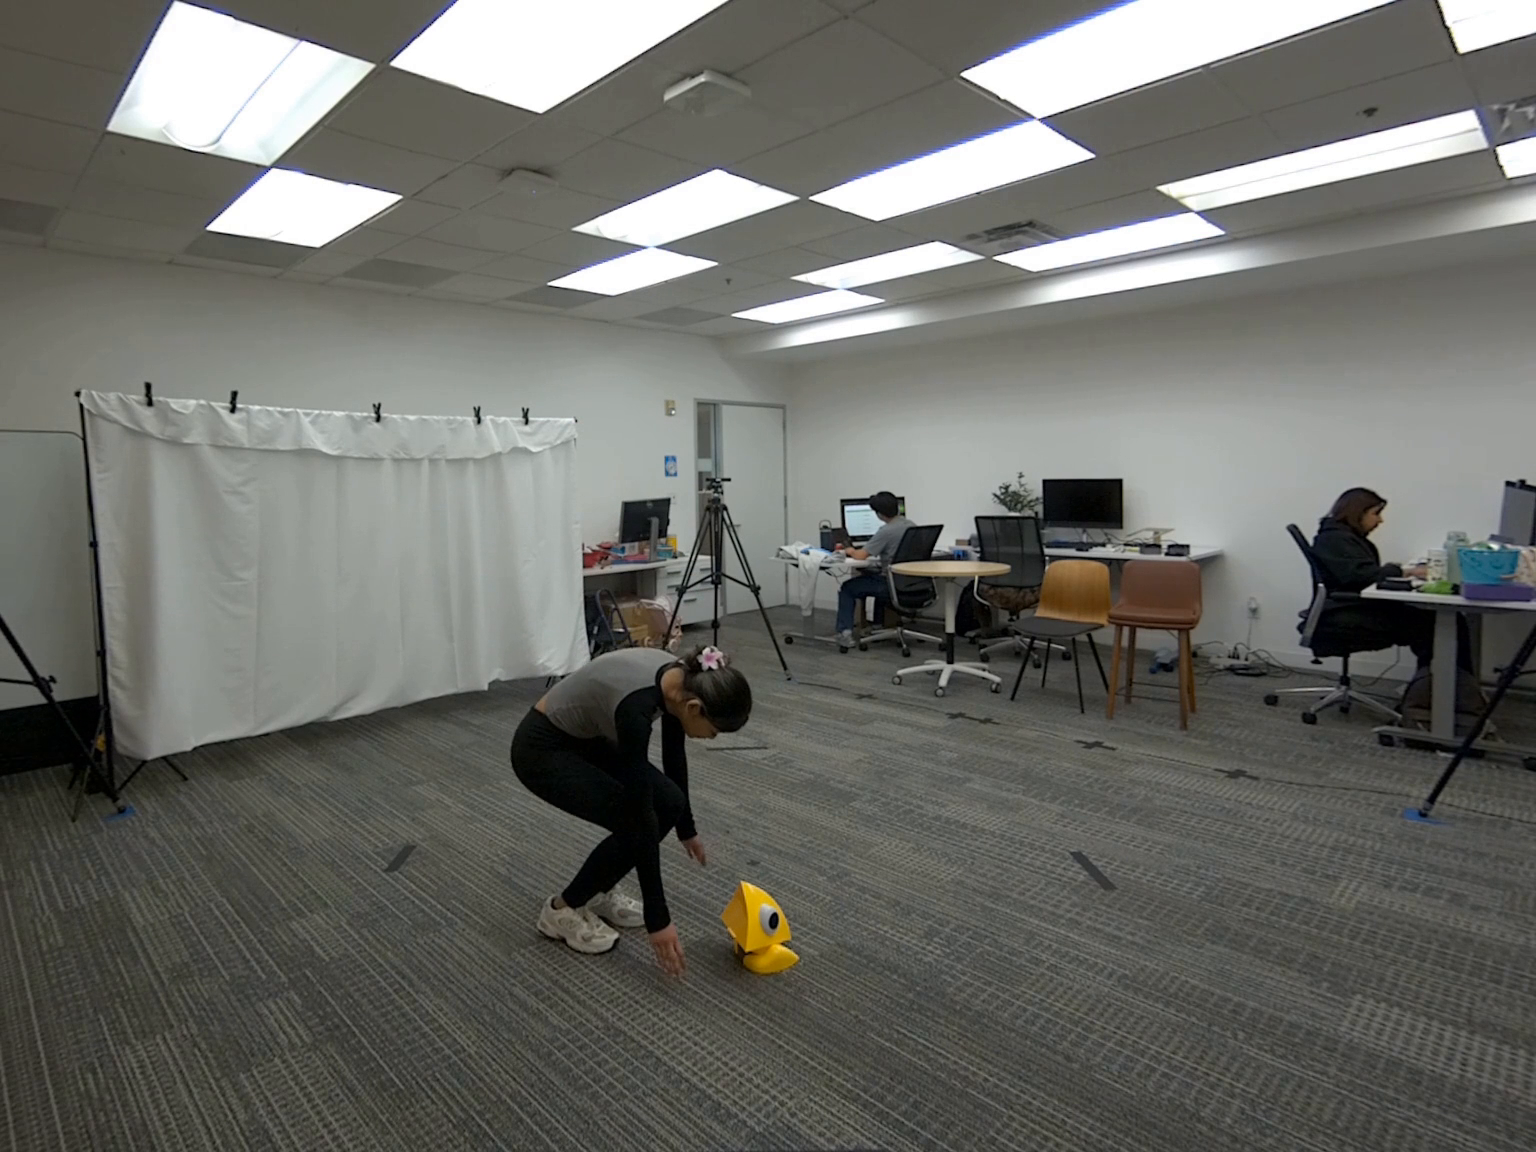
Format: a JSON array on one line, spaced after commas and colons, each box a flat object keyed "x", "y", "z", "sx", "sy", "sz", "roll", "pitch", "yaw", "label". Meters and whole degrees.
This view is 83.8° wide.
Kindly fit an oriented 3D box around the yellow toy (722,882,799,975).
[{"x": -0.028, "y": 0.991, "z": 2.504, "sx": 0.190, "sy": 0.230, "sz": 0.209, "roll": -4, "pitch": 4, "yaw": -20, "label": "yellow toy"}]
